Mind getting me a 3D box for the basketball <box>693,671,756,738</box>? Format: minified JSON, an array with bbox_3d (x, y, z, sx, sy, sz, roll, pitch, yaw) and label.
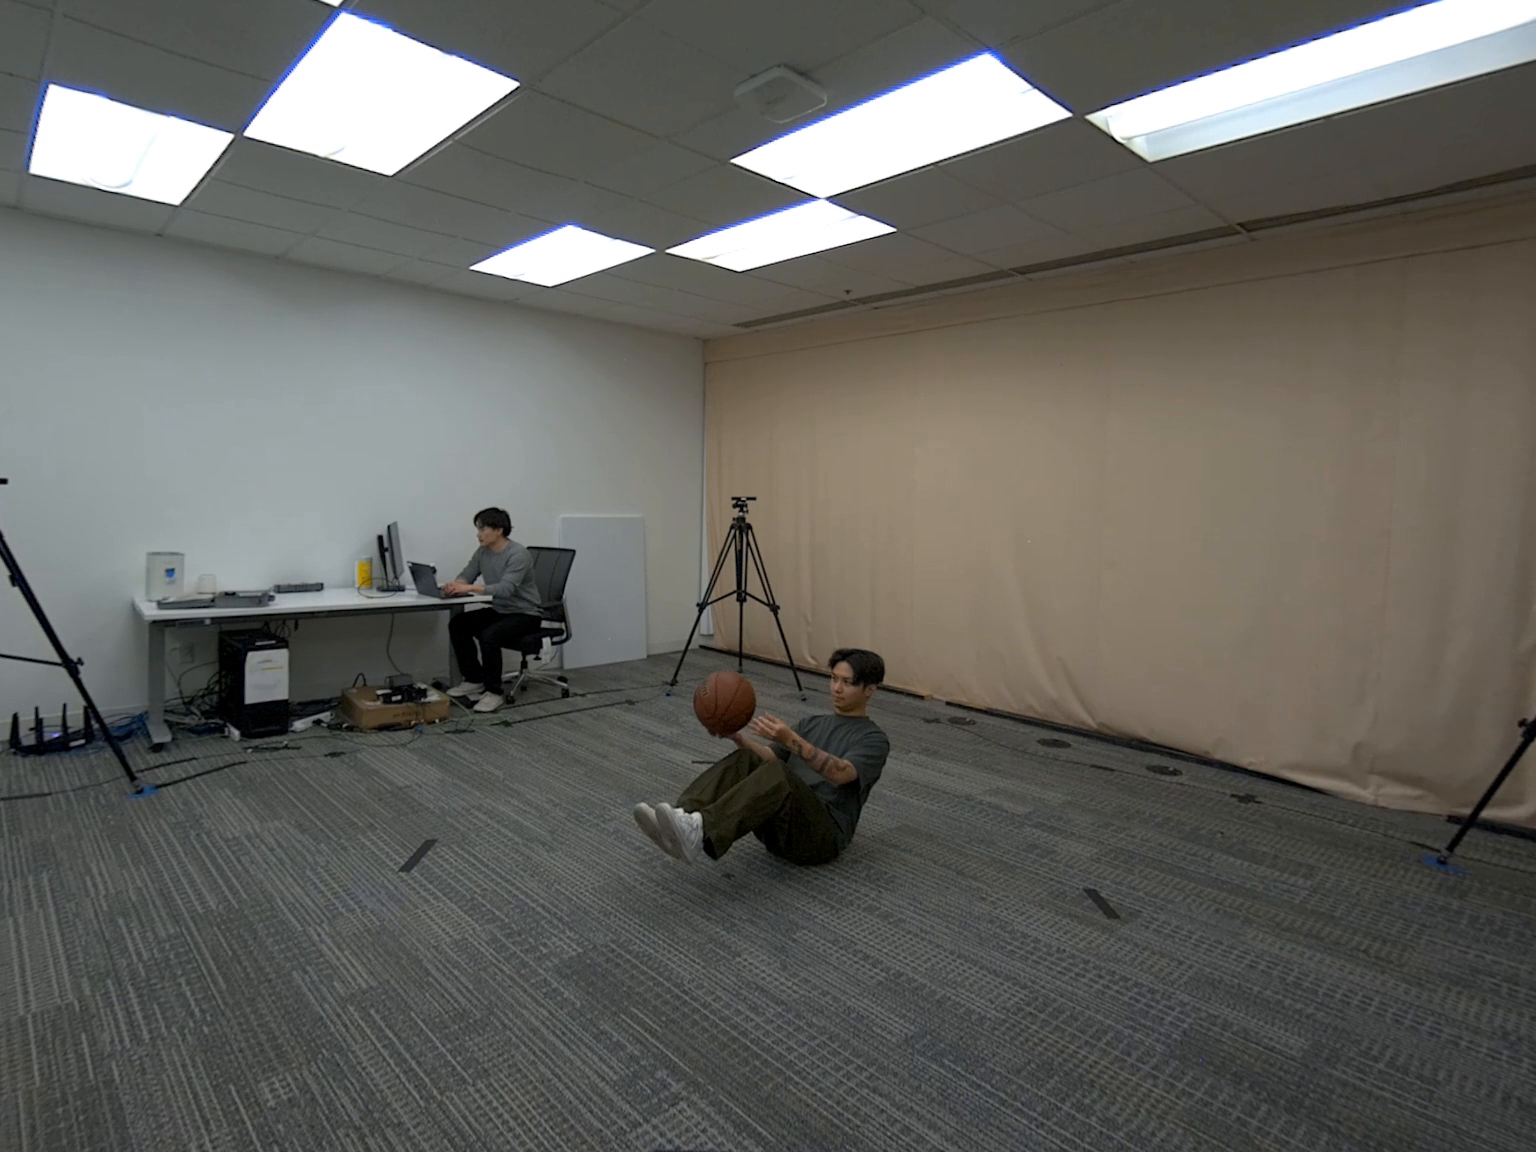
[{"bbox_3d":[-0.172,0.492,3.198,0.236,0.235,0.237,1,4,-1],"label":"basketball"}]
